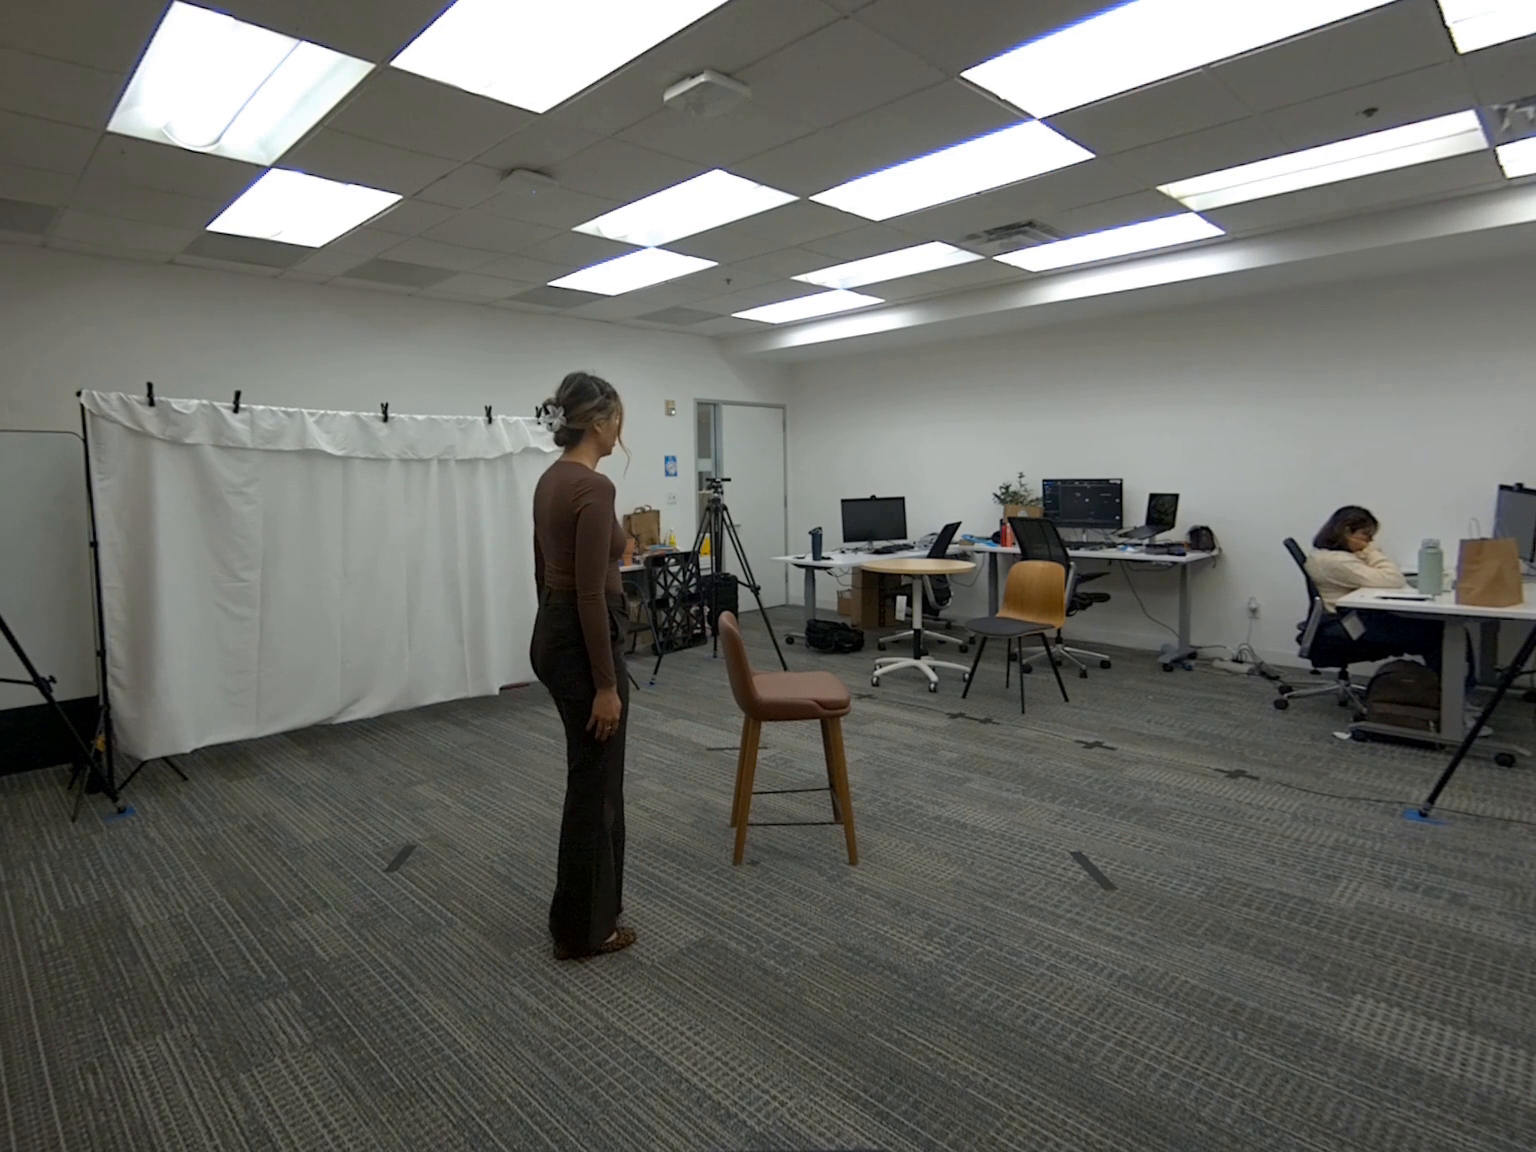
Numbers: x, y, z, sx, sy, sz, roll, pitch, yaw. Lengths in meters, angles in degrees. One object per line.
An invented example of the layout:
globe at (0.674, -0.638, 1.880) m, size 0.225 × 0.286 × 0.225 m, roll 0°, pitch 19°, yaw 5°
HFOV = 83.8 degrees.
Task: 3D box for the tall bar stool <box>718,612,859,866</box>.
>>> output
tall bar stool at (0.077, 0.591, 3.249) m, size 0.467 × 0.887 × 0.459 m, roll -3°, pitch 4°, yaw -3°
